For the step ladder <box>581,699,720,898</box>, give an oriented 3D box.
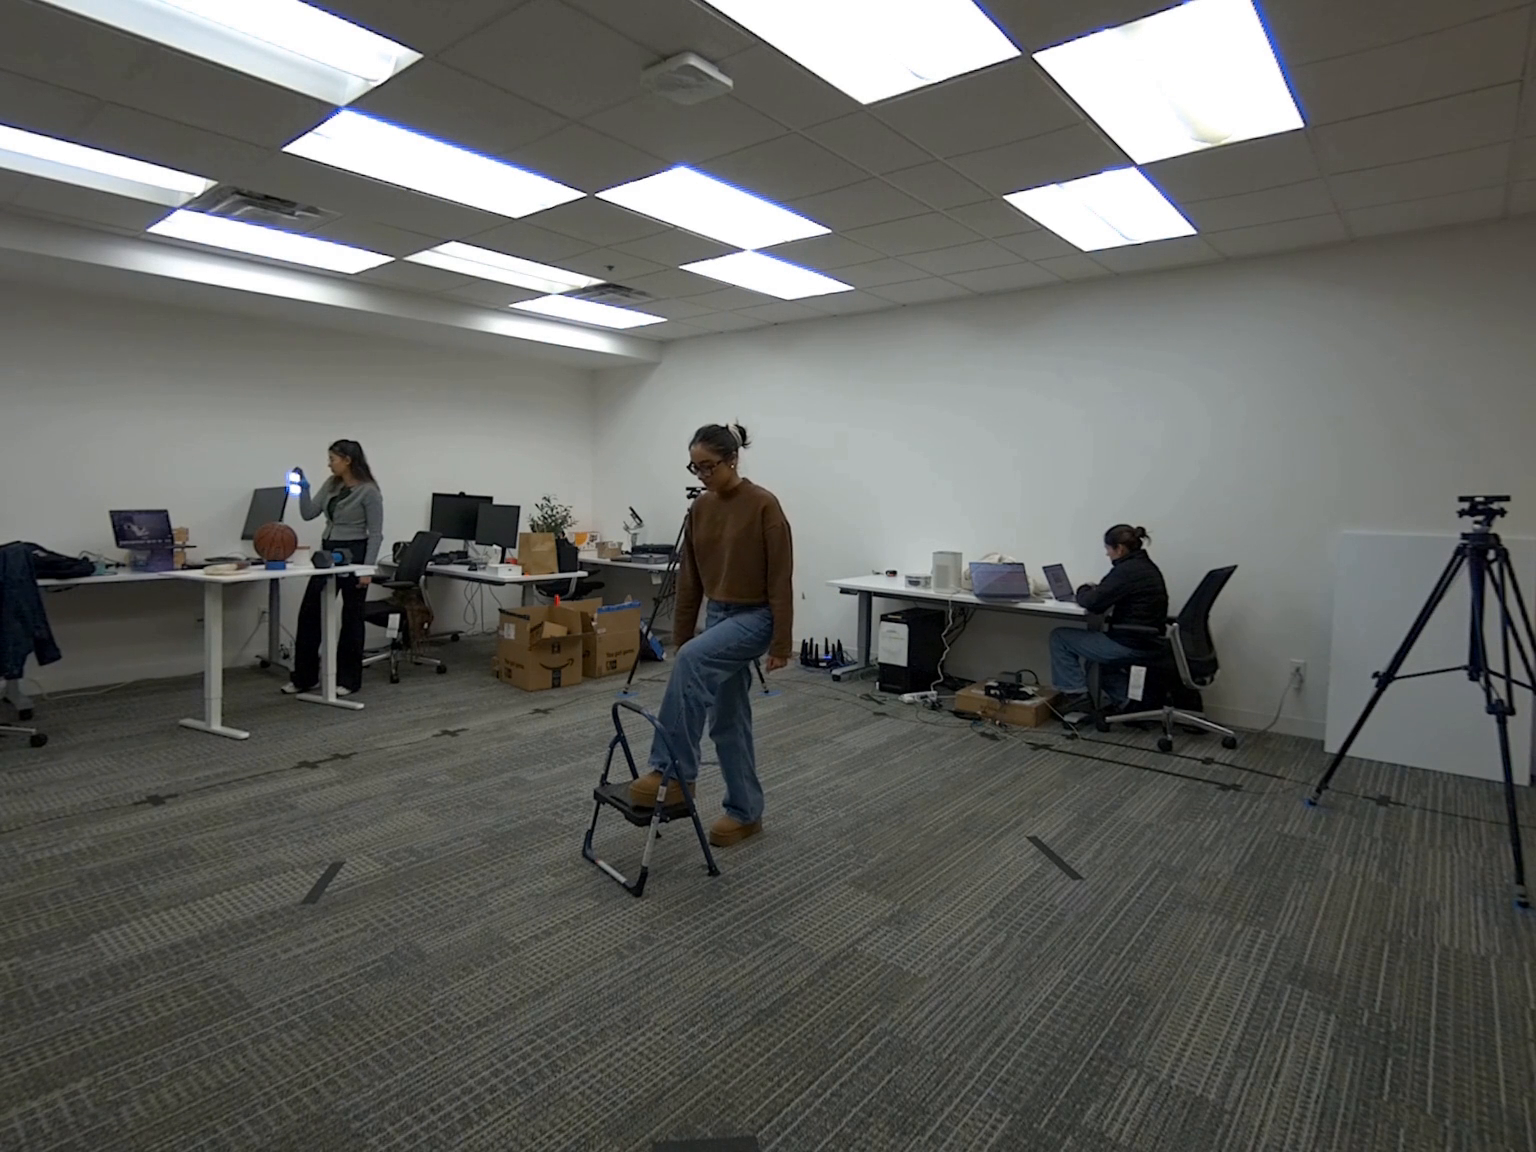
[{"bbox_3d":[-0.446,0.757,3.115,0.339,0.604,0.445,-2,5,-39],"label":"step ladder"}]
